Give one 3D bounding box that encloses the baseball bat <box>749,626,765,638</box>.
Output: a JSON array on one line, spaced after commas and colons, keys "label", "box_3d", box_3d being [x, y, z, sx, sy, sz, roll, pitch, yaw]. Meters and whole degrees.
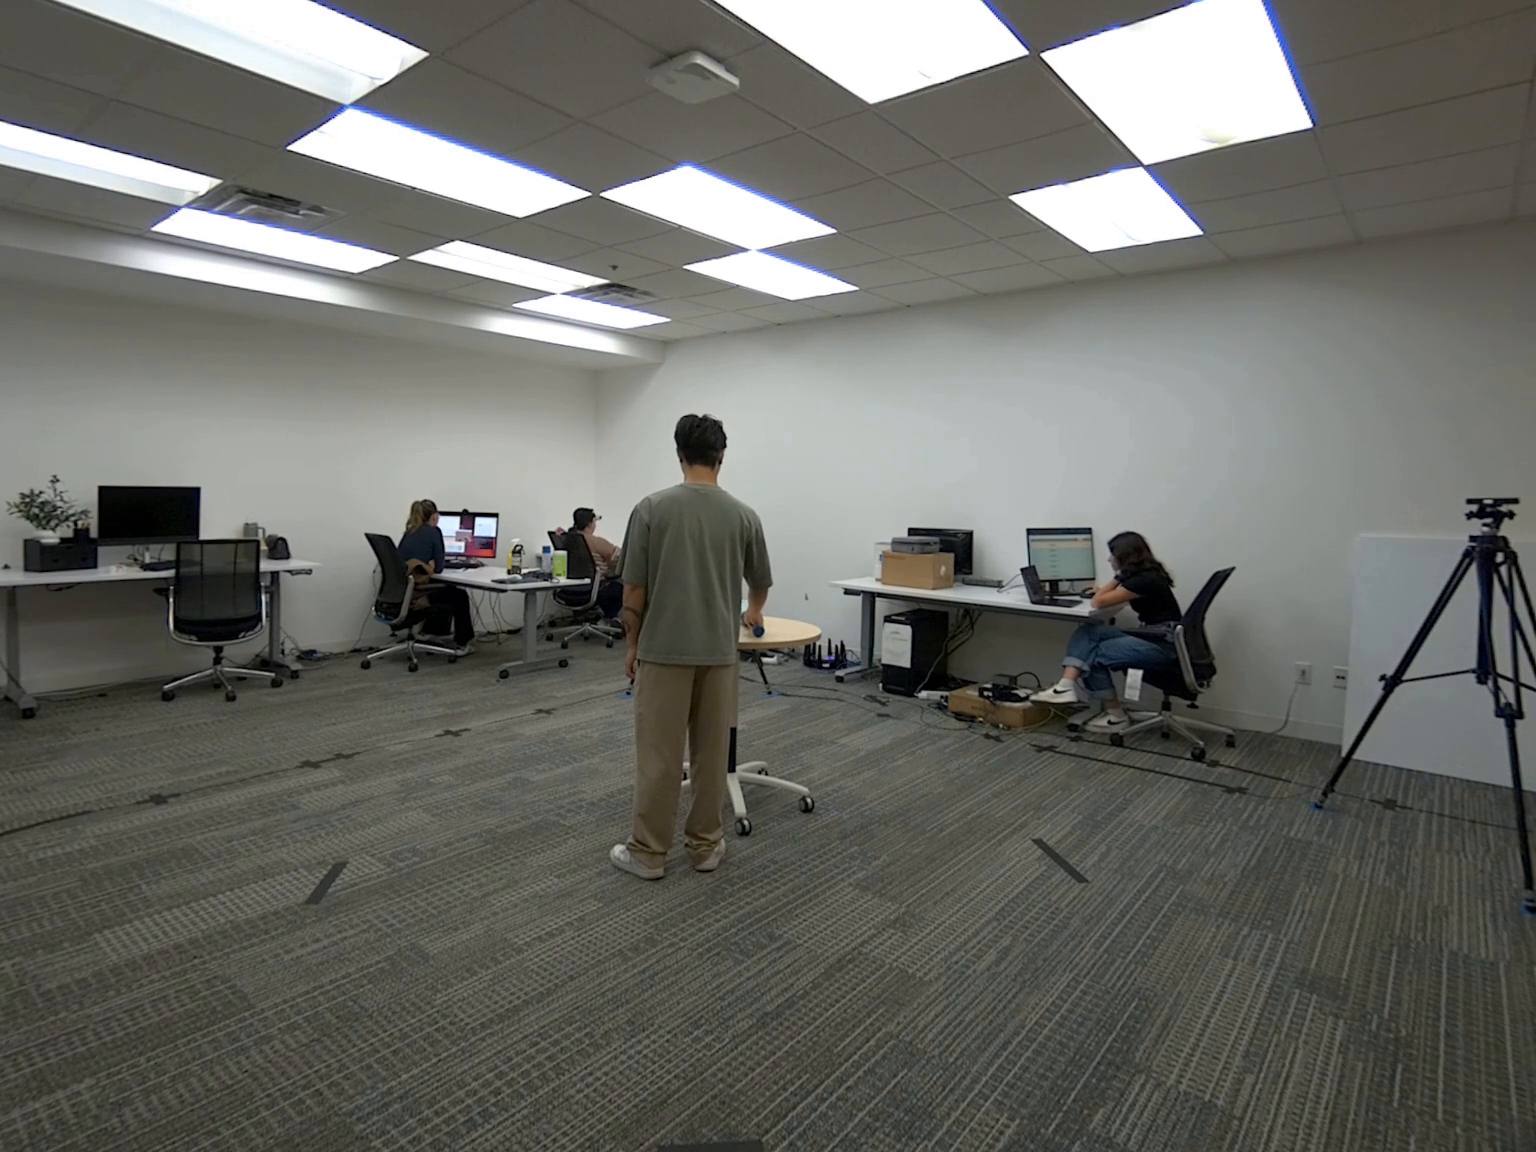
[{"label": "baseball bat", "box_3d": [-0.090, 0.184, 3.745, 0.088, 0.088, 0.552, 0, 8, -12]}]
